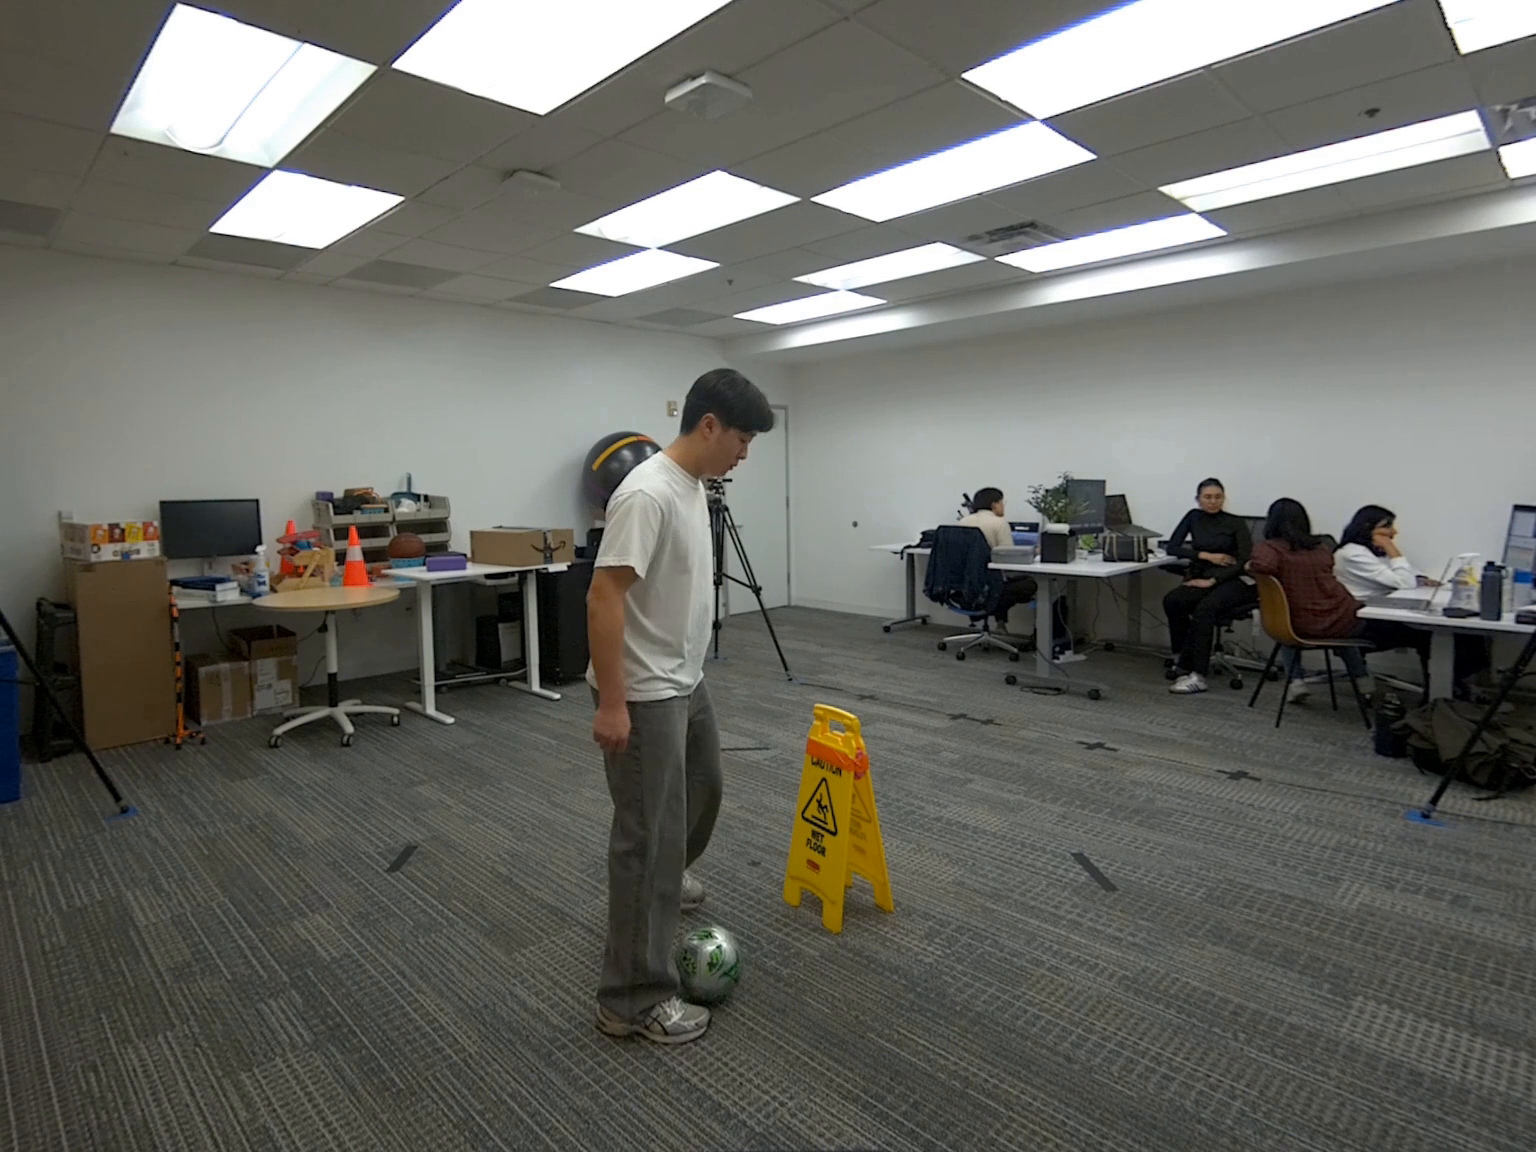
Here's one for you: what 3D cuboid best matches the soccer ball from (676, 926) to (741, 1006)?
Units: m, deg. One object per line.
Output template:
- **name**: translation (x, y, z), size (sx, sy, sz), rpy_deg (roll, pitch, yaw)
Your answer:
- **soccer ball**: translation (-0.154, 1.050, 2.318), size (0.187, 0.187, 0.188), rpy_deg (-1, 5, -2)
